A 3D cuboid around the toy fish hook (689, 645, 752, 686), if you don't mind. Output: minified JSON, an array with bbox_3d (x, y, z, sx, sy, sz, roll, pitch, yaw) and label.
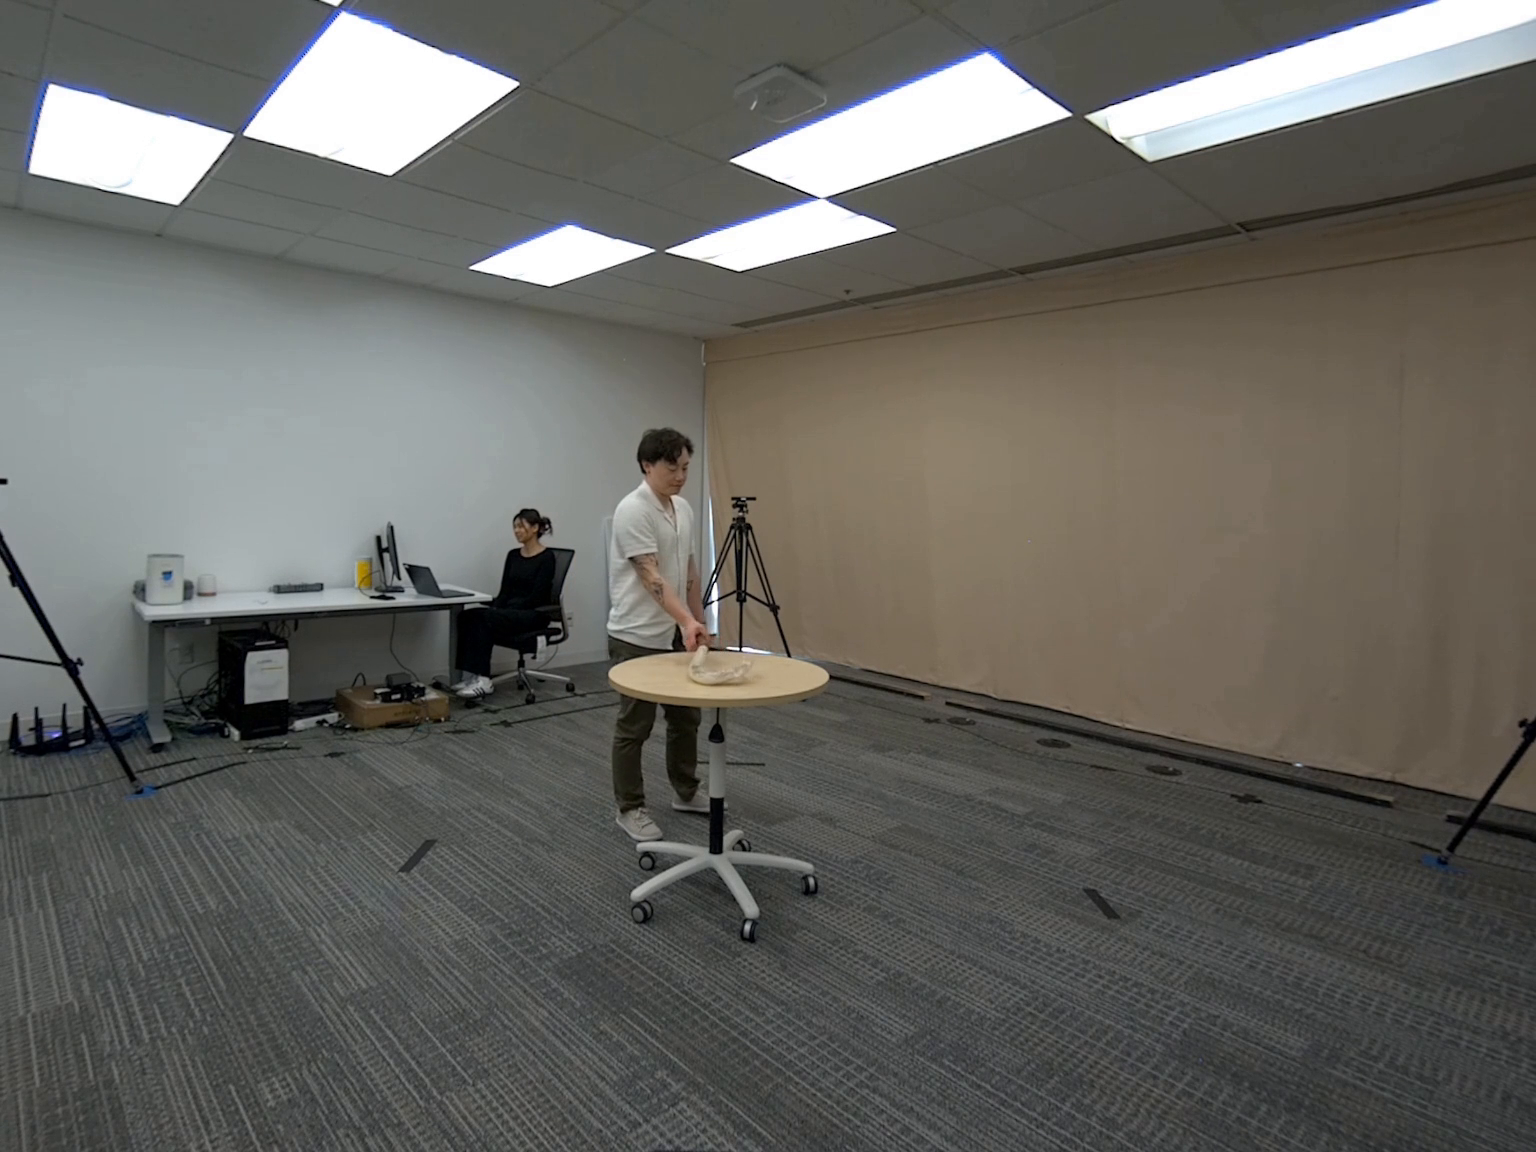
[{"bbox_3d":[-0.179,0.282,2.966,0.223,0.048,0.514,-4,15,-7],"label":"toy fish hook"}]
